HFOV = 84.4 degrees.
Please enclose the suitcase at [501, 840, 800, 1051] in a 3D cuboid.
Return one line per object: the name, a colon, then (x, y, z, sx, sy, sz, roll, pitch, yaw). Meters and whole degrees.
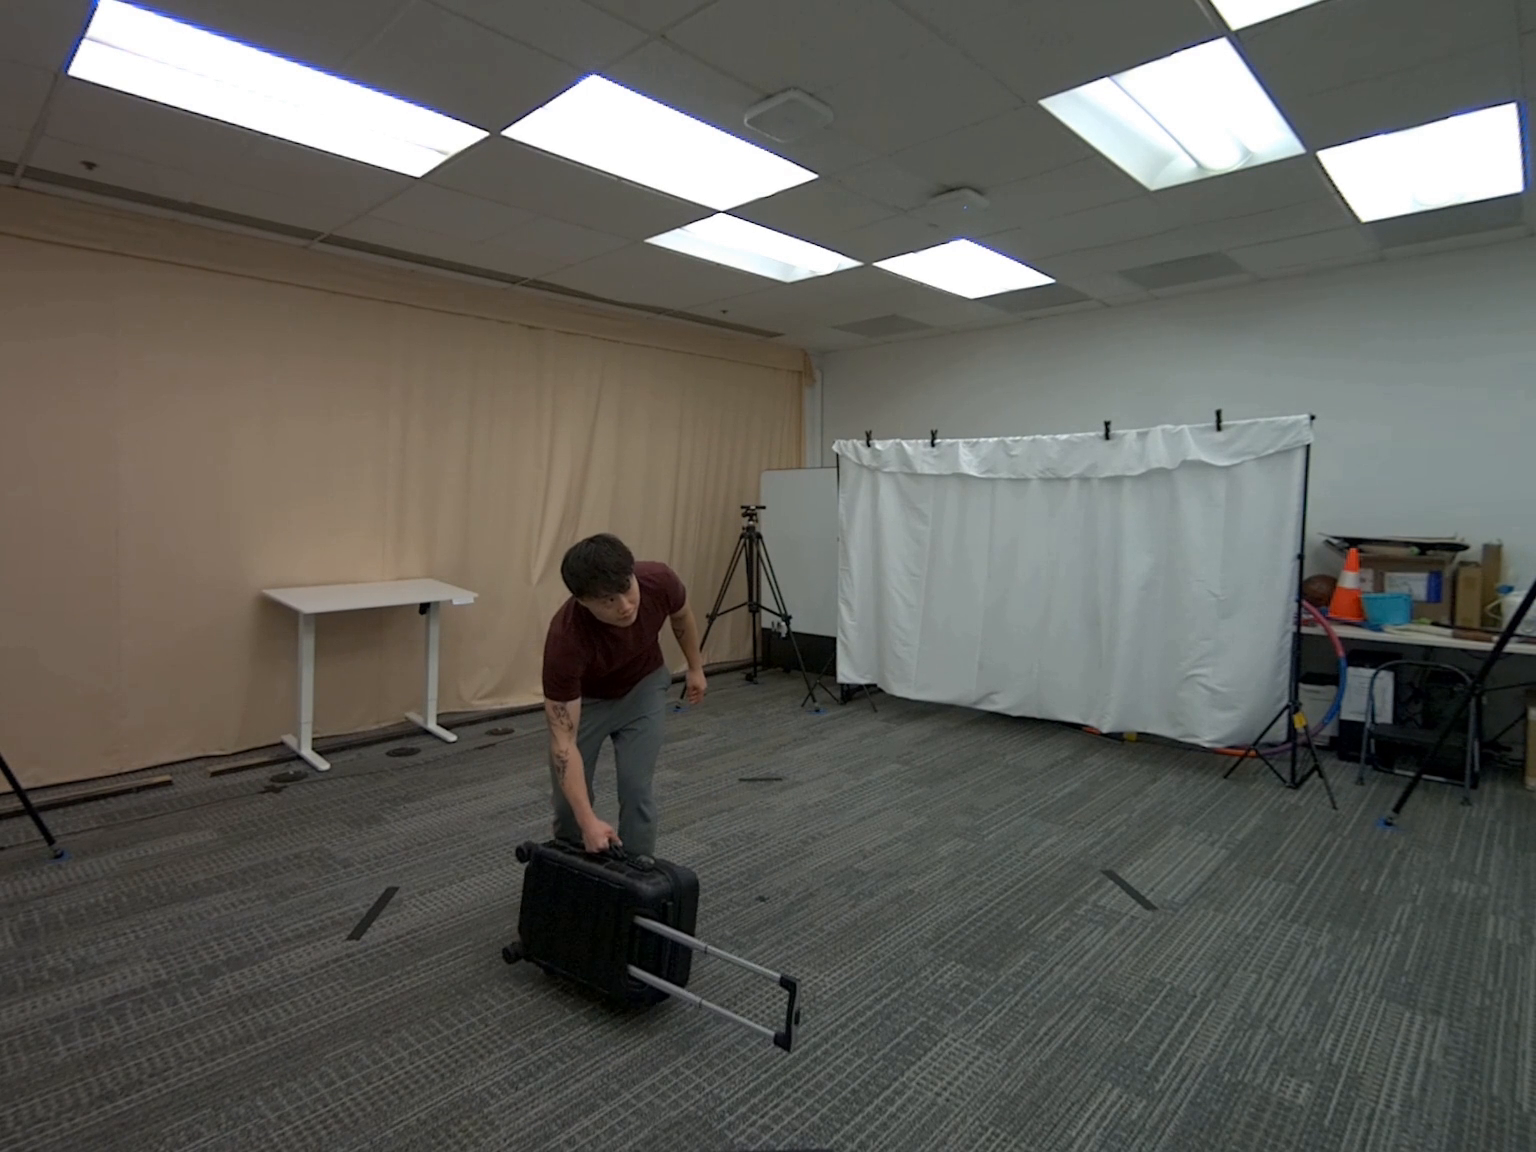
suitcase: (-0.288, 0.975, 2.298, 1.008, 0.385, 0.249, 2, -5, 33)
